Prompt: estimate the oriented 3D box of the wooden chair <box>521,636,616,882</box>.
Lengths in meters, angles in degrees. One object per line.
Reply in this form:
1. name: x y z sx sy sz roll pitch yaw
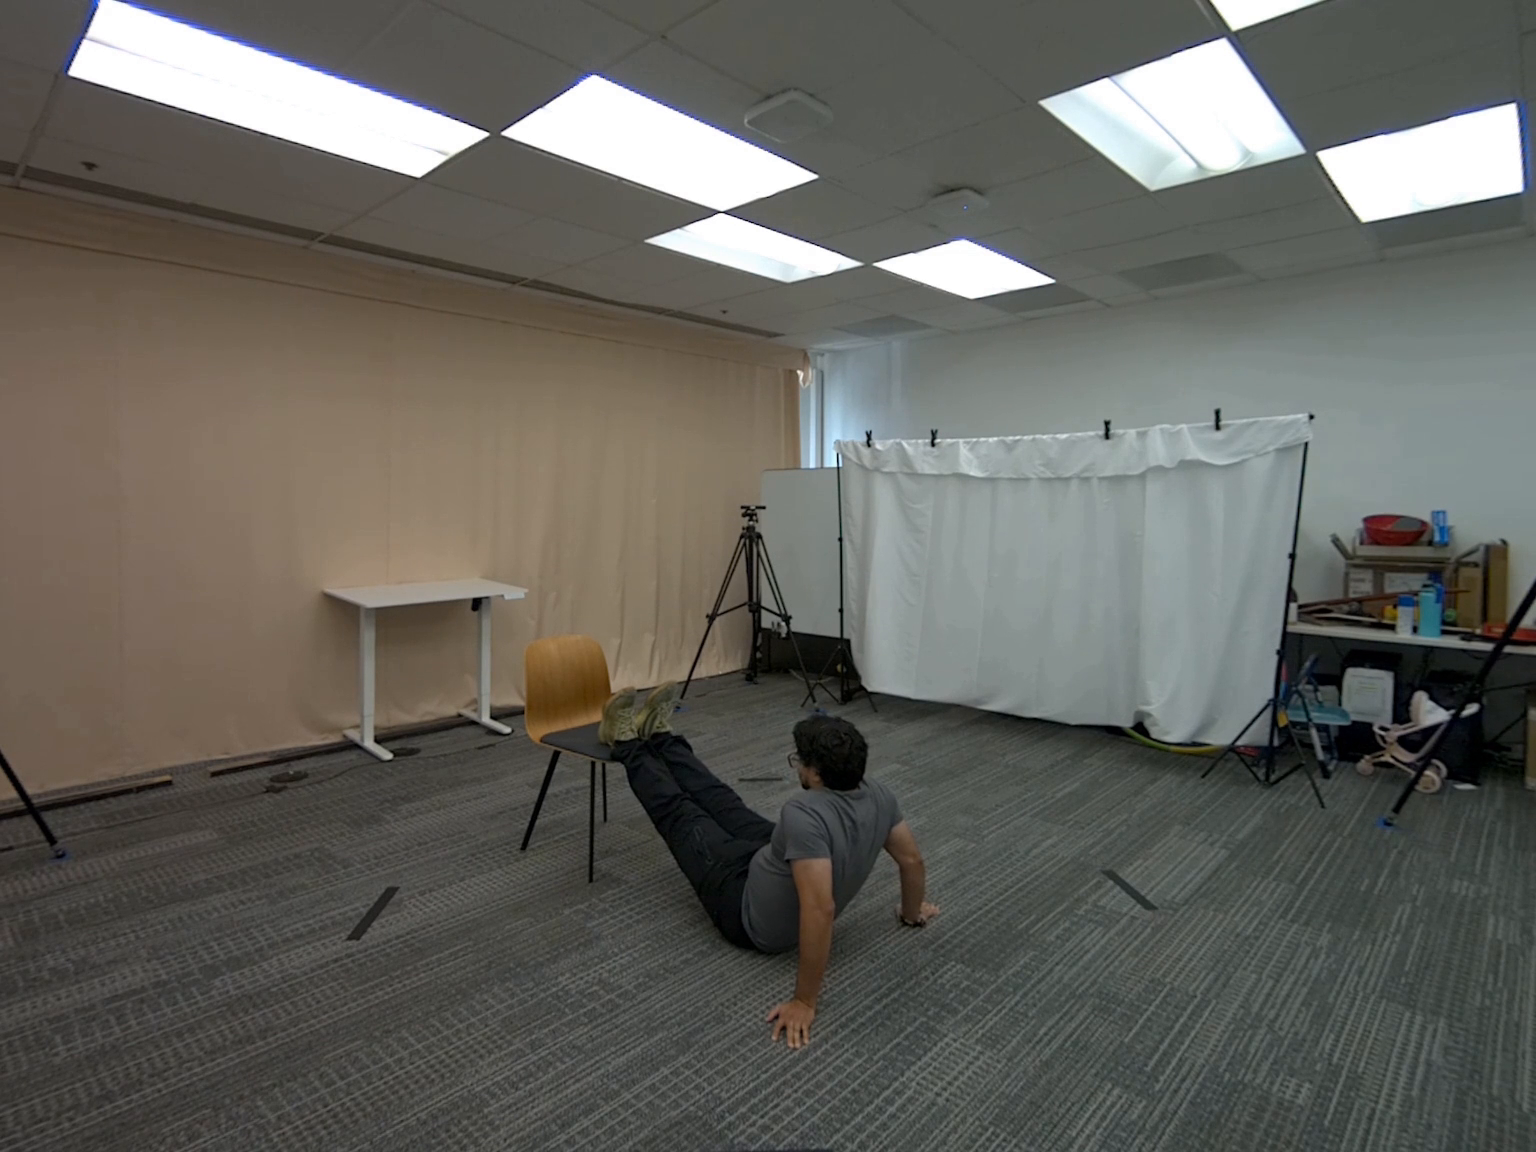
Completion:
1. wooden chair: -0.688 0.690 3.401 0.539 0.877 0.463 -3 1 42
